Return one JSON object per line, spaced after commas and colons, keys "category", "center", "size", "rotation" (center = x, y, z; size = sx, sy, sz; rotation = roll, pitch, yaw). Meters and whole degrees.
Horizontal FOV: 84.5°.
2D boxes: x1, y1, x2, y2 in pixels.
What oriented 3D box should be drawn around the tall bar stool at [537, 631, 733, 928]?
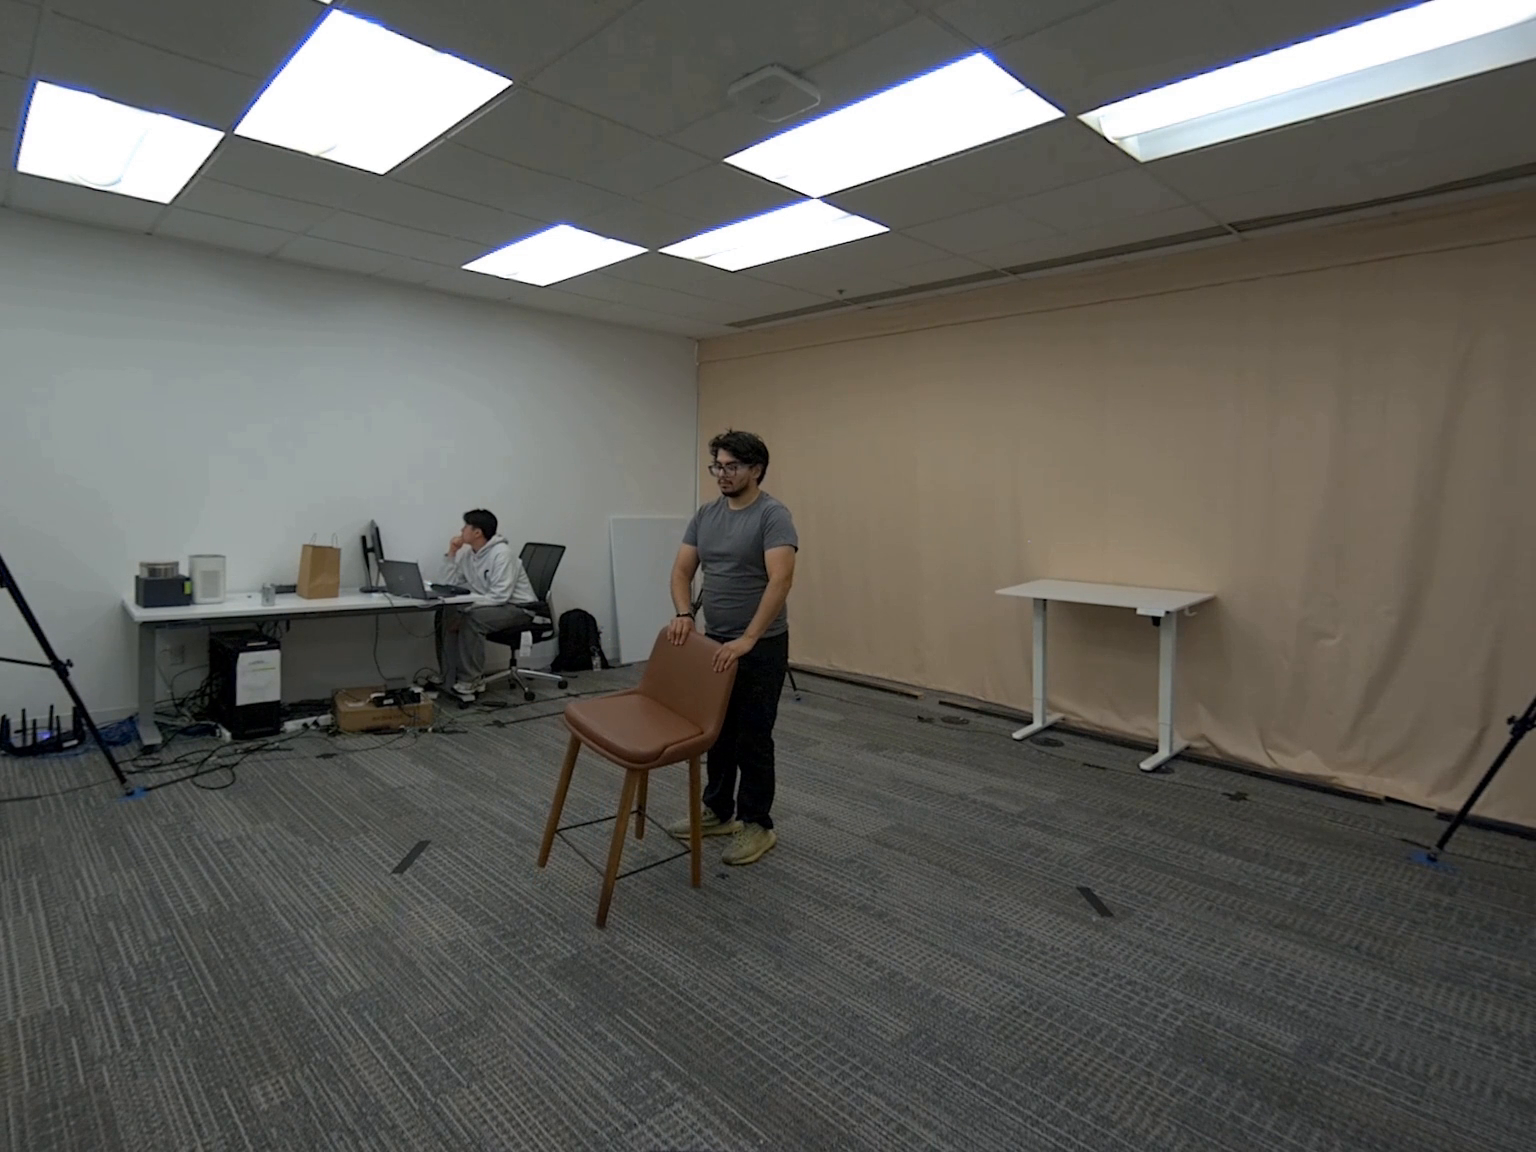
{"category": "tall bar stool", "center": [-0.455, 0.654, 2.922], "size": [0.456, 0.885, 0.470], "rotation": [2, 12, -44]}
